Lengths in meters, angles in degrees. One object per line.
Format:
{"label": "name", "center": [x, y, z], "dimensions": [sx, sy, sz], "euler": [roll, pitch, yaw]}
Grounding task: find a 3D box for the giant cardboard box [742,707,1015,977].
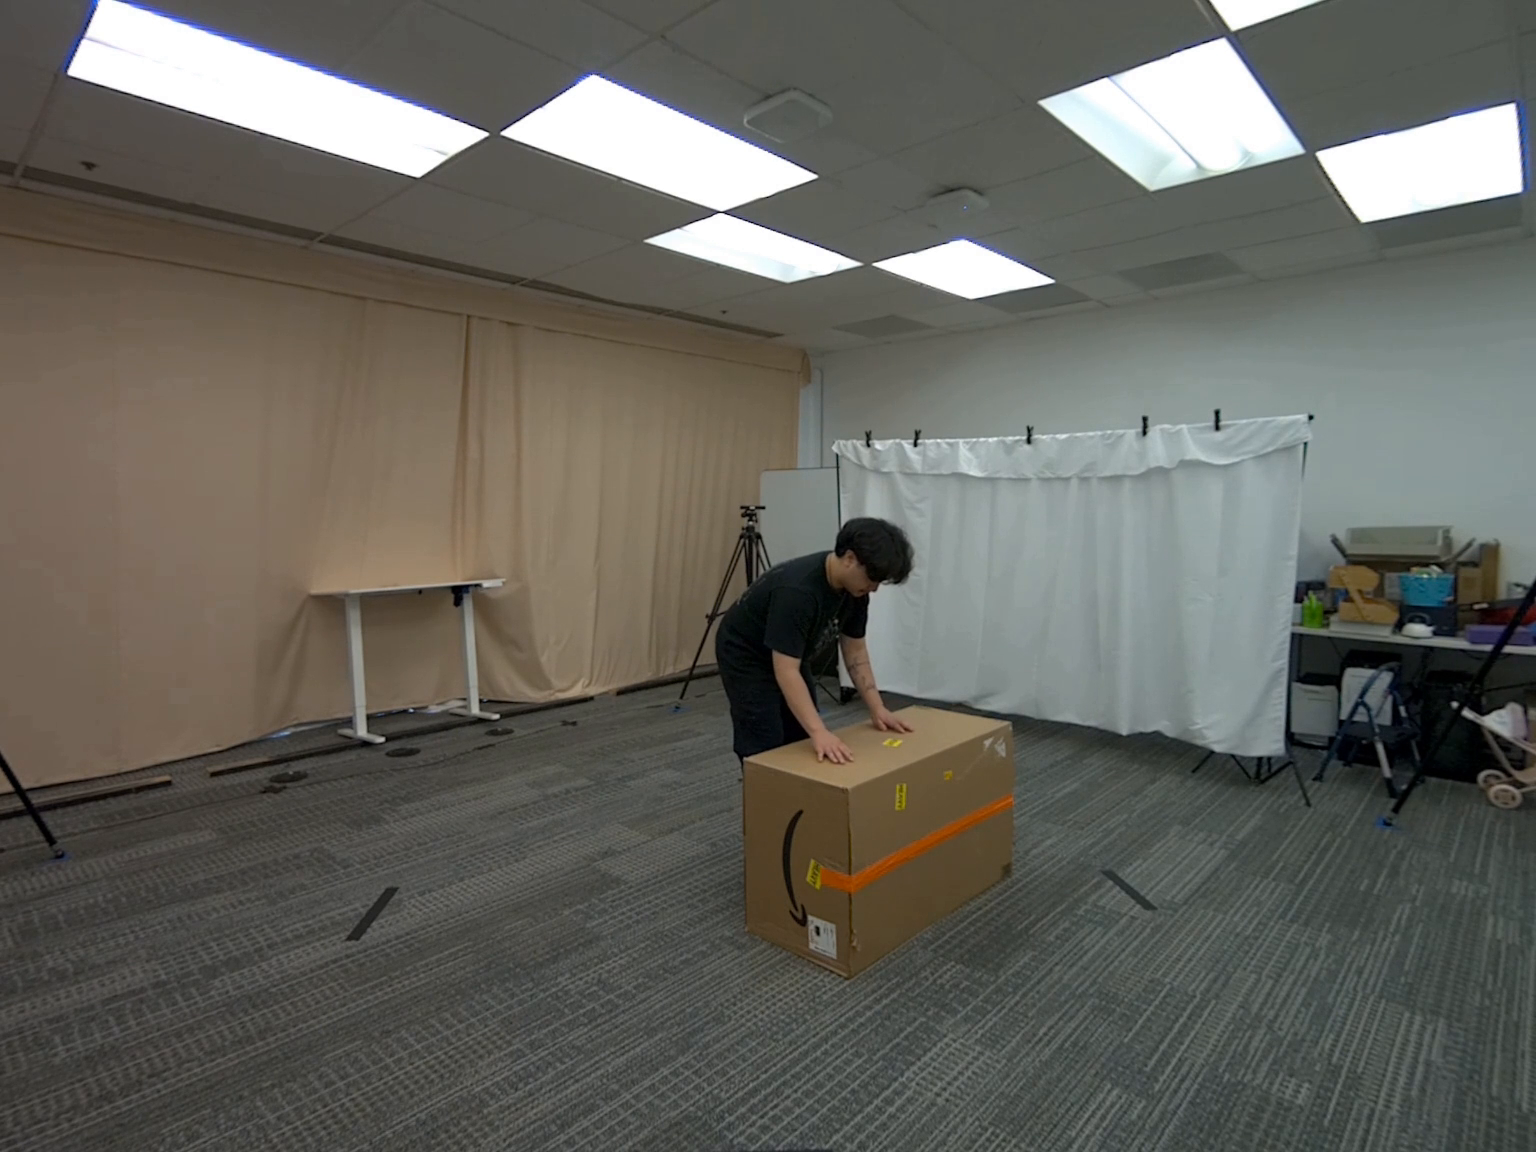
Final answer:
{"label": "giant cardboard box", "center": [0.428, 0.860, 2.953], "dimensions": [0.462, 0.582, 0.996], "euler": [4, 7, 43]}
